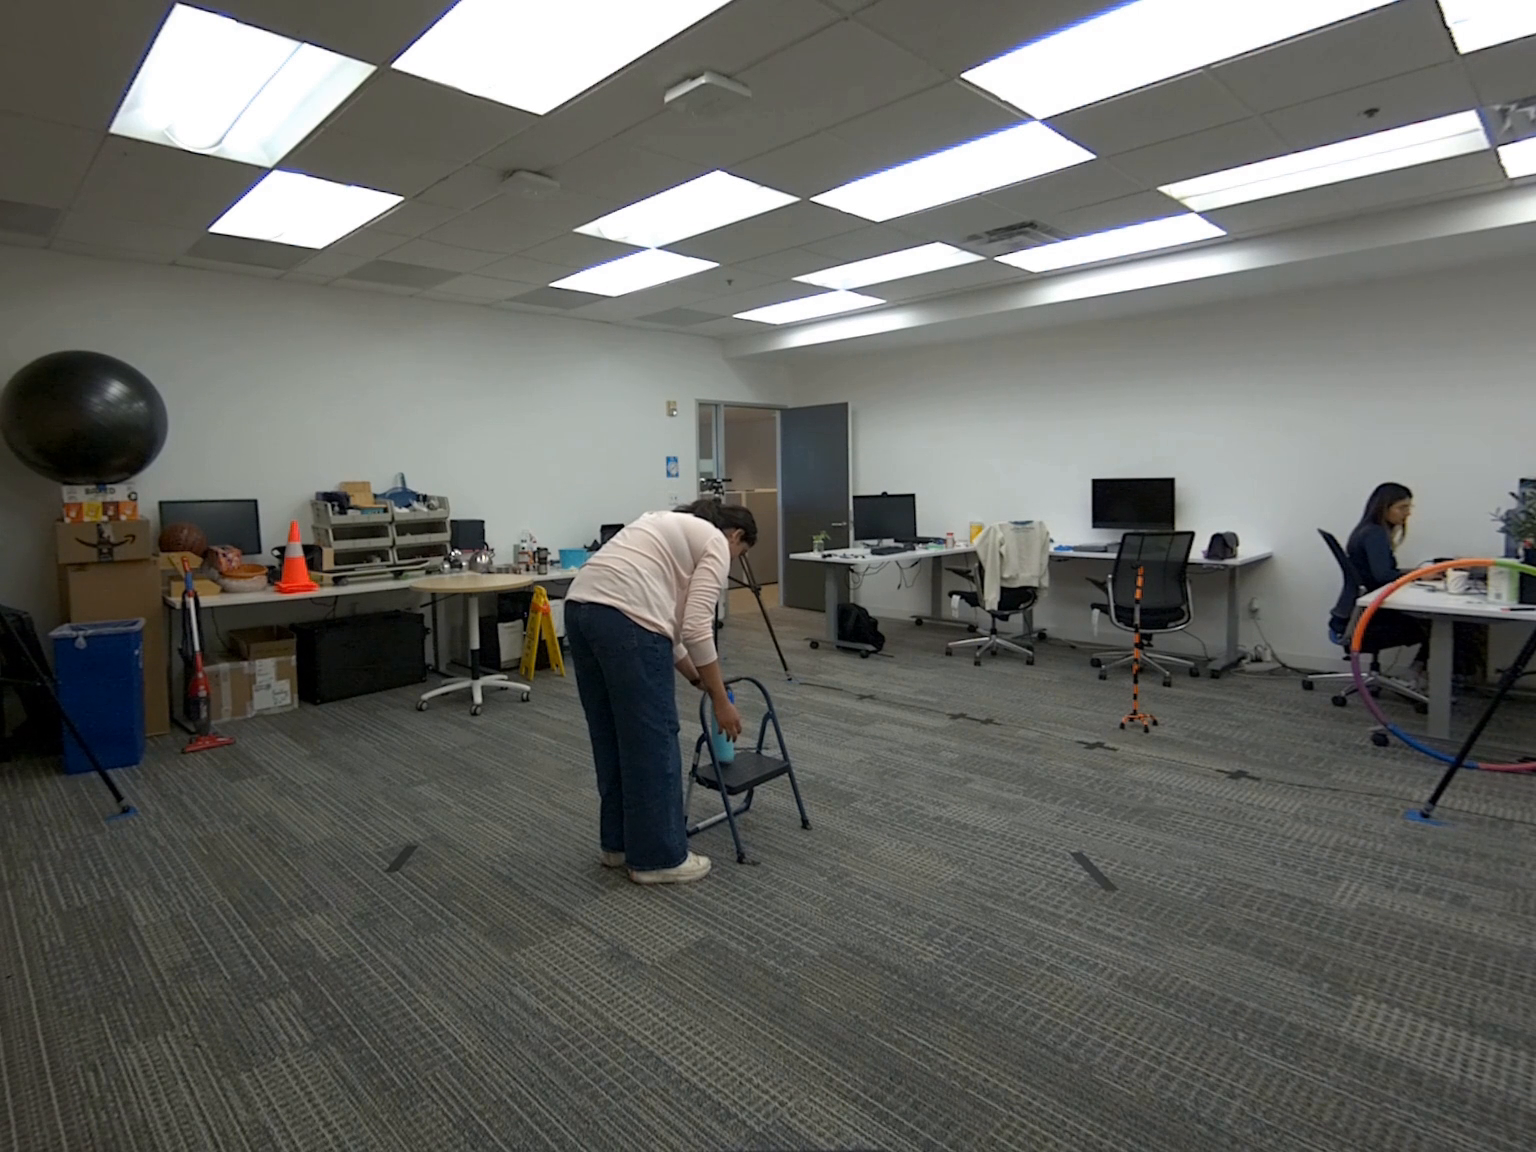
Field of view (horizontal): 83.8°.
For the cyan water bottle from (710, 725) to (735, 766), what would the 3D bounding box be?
[{"bbox_3d":[-0.180,0.598,3.406,0.092,0.283,0.092,-2,1,-2],"label":"cyan water bottle"}]
